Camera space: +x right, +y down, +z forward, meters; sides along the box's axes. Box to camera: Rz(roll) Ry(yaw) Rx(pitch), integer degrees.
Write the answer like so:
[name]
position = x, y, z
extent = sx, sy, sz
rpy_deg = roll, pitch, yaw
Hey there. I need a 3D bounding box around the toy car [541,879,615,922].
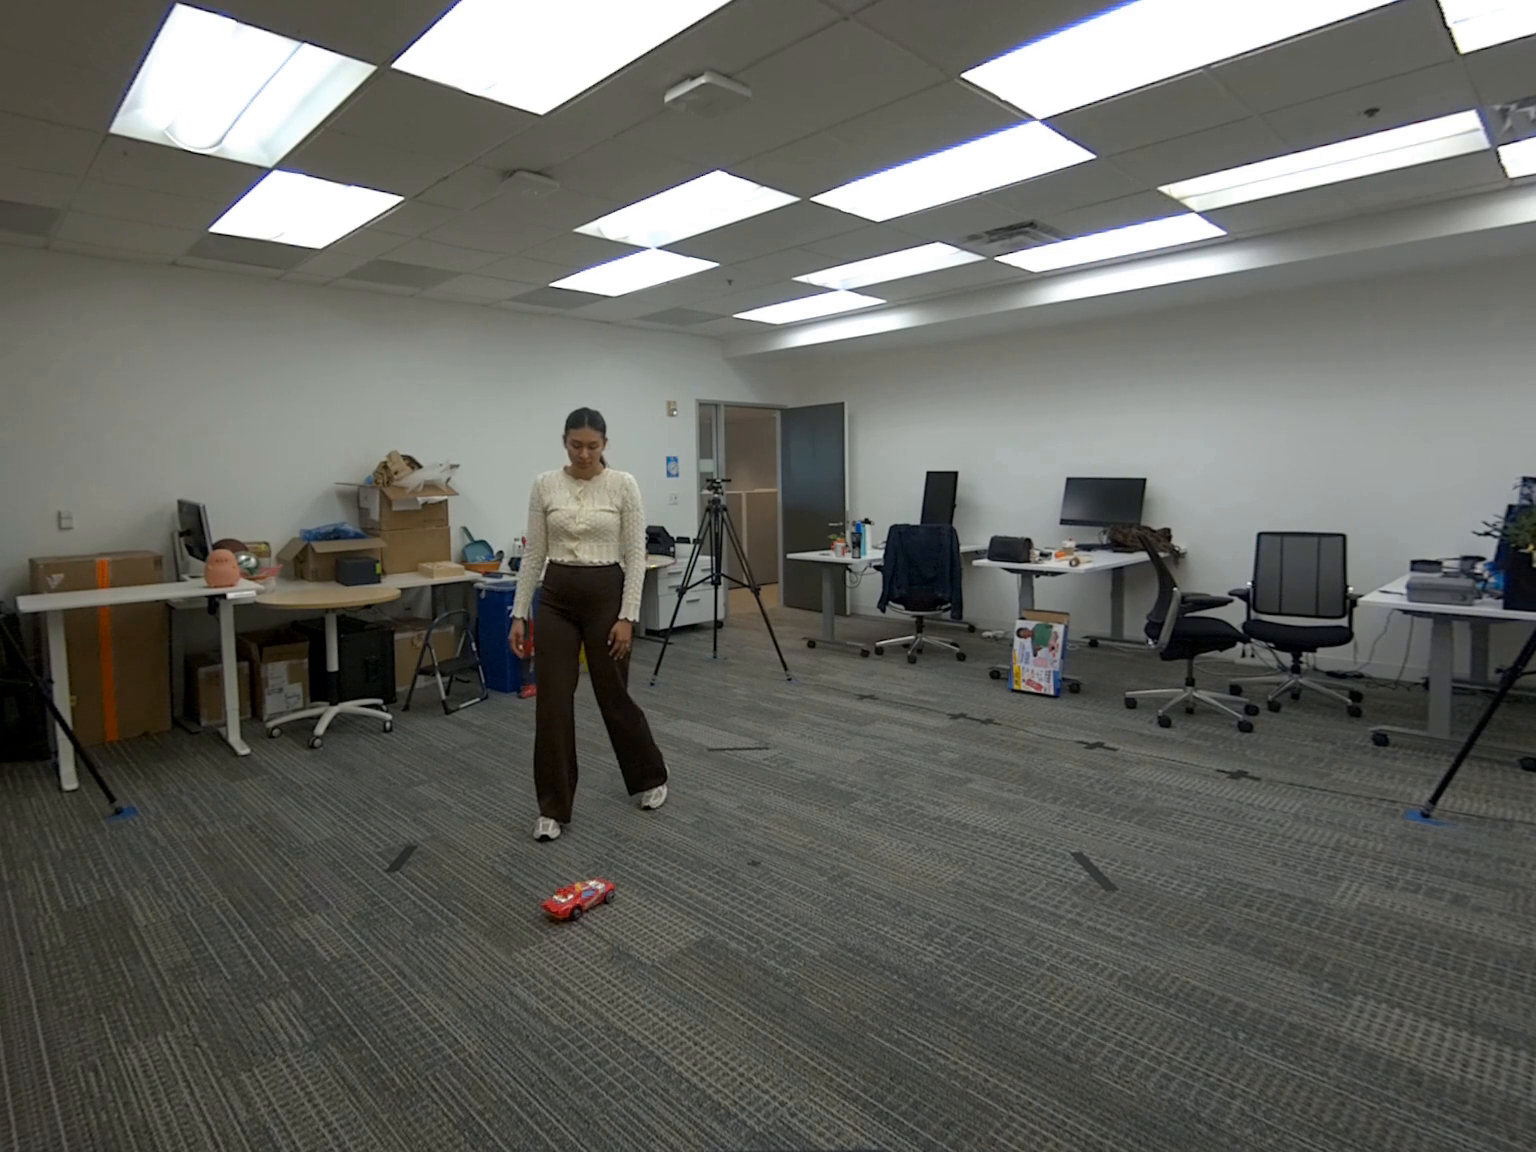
[toy car]
position = -0.630, 1.064, 2.797
extent = 0.134, 0.083, 0.246
rpy_deg = 4, -2, 40
